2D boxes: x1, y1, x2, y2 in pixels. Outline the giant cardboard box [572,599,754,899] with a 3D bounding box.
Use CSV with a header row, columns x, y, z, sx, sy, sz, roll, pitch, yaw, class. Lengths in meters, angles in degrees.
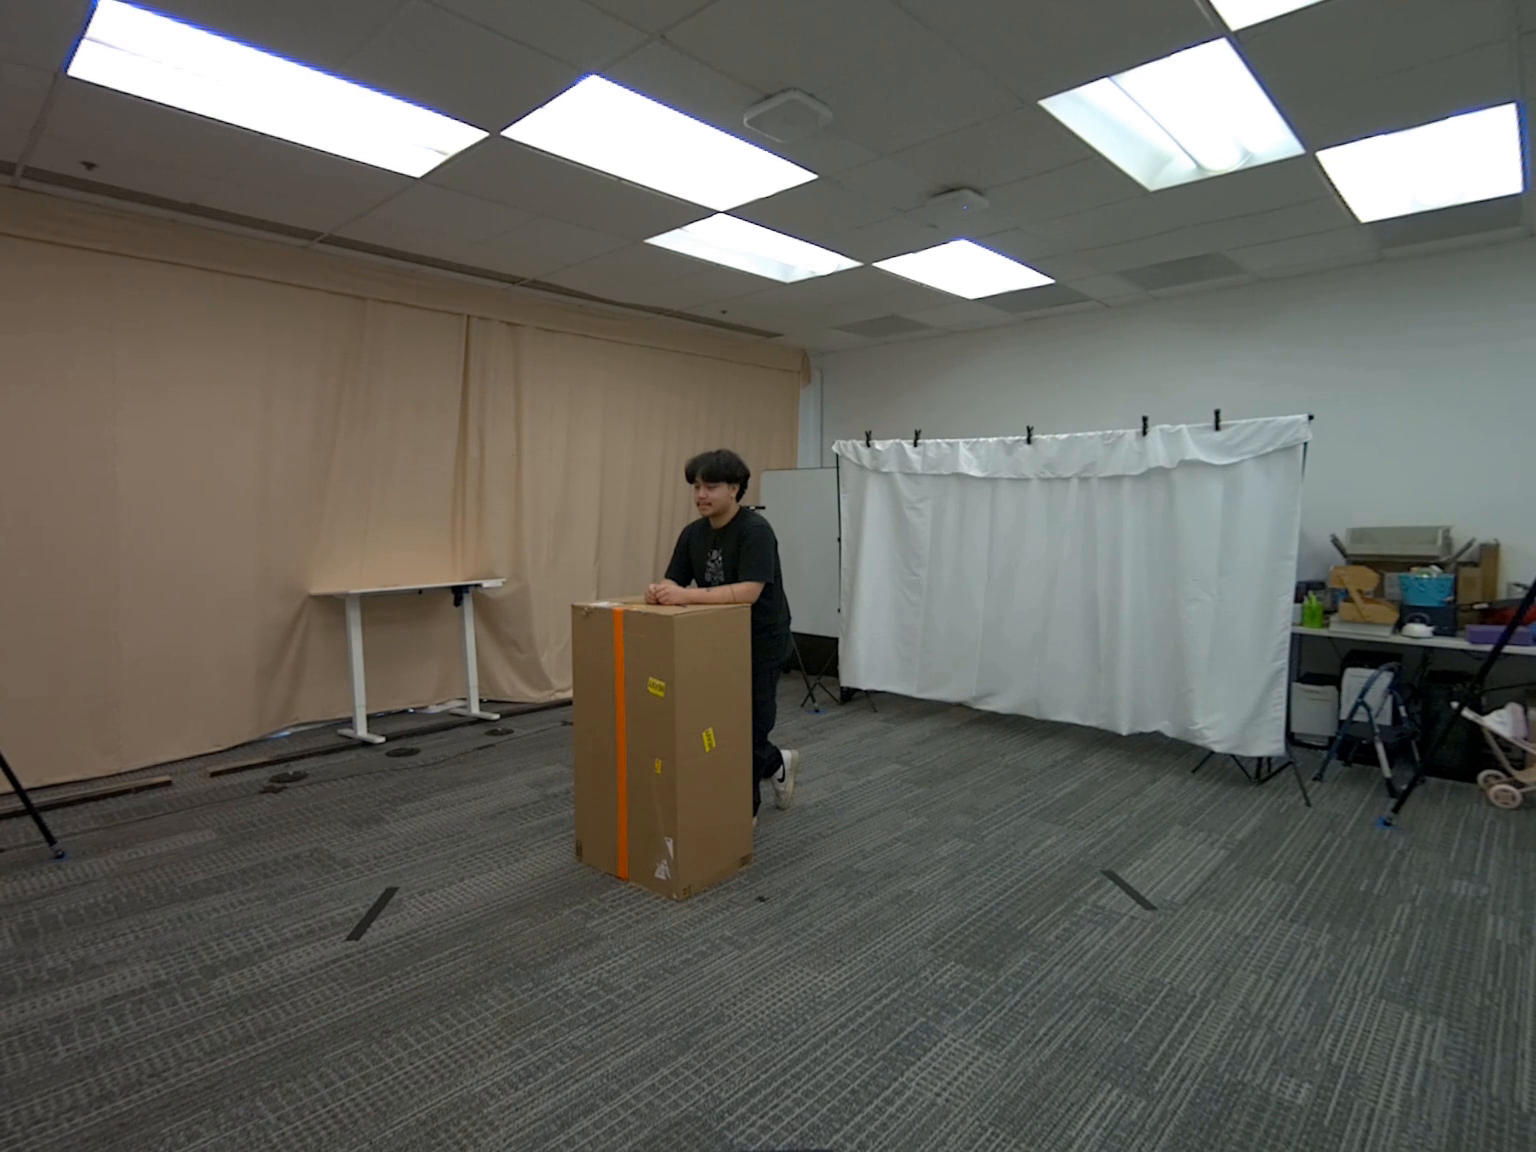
x,y,z,sx,sy,sz,roll,pitch,yaw,class
-0.420,0.613,3.282,0.603,1.025,0.433,2,4,41,giant cardboard box
